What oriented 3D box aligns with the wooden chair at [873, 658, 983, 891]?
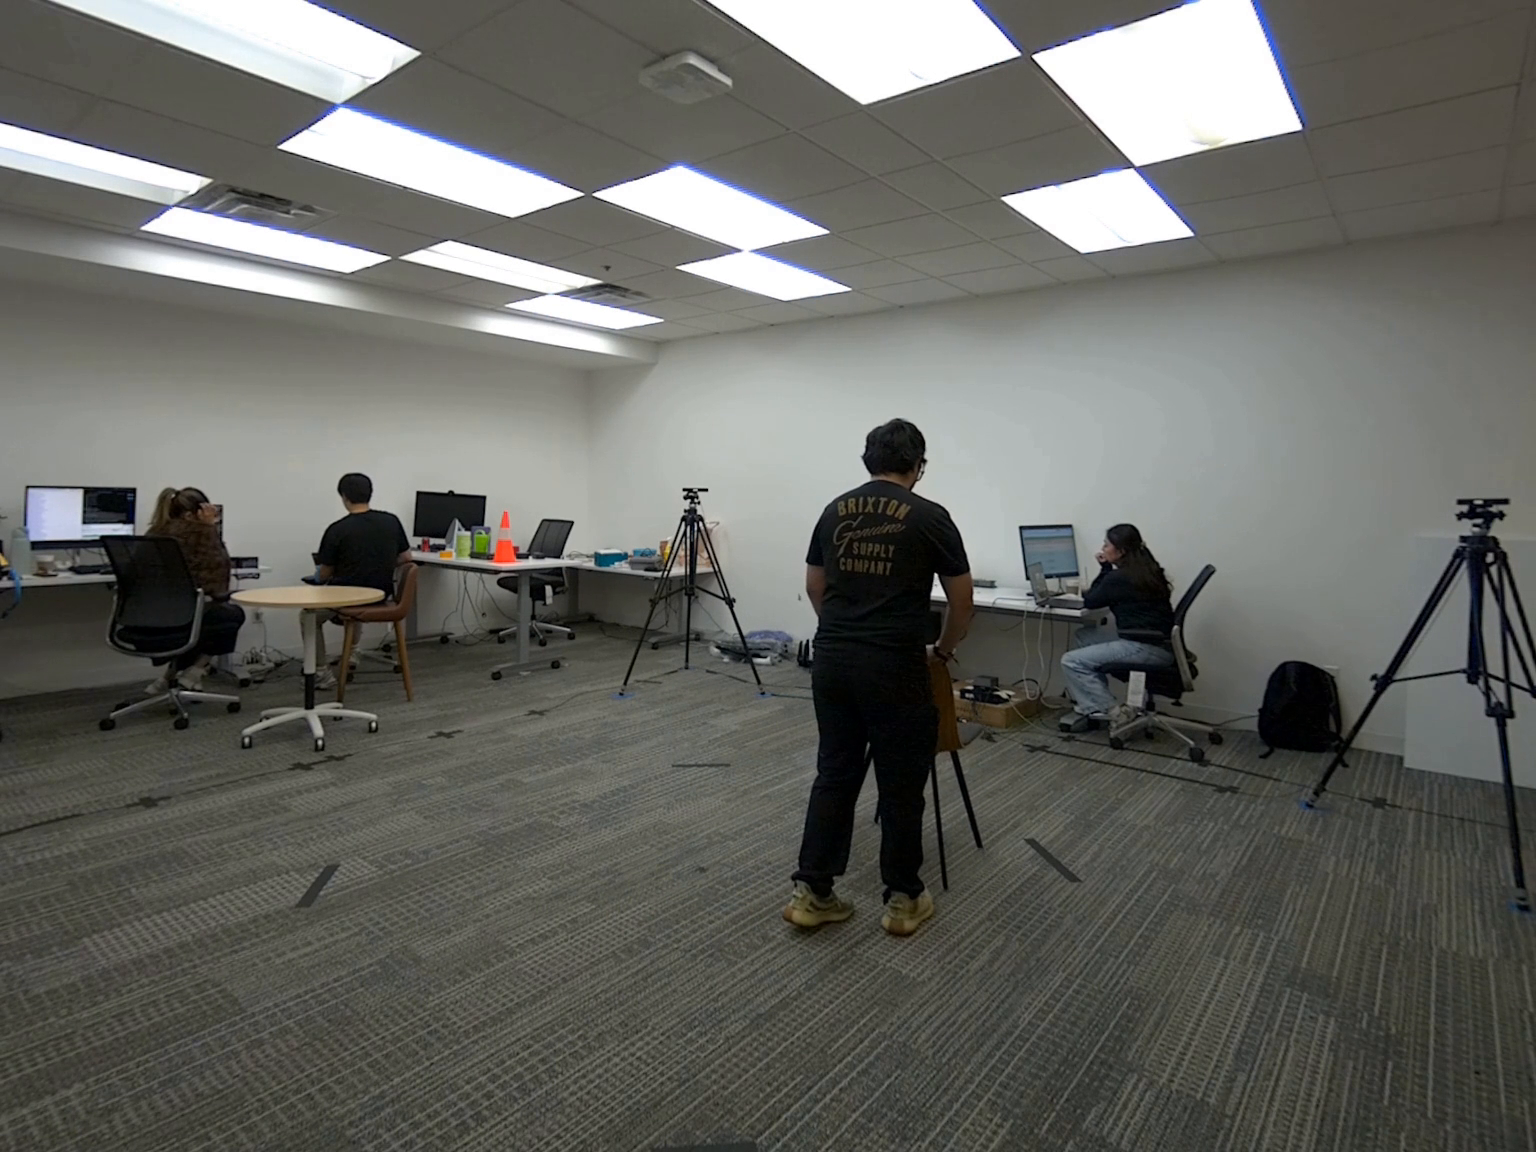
[{"bbox_3d":[0.541,0.638,3.271,0.492,0.872,0.511,3,8,31],"label":"wooden chair"}]
